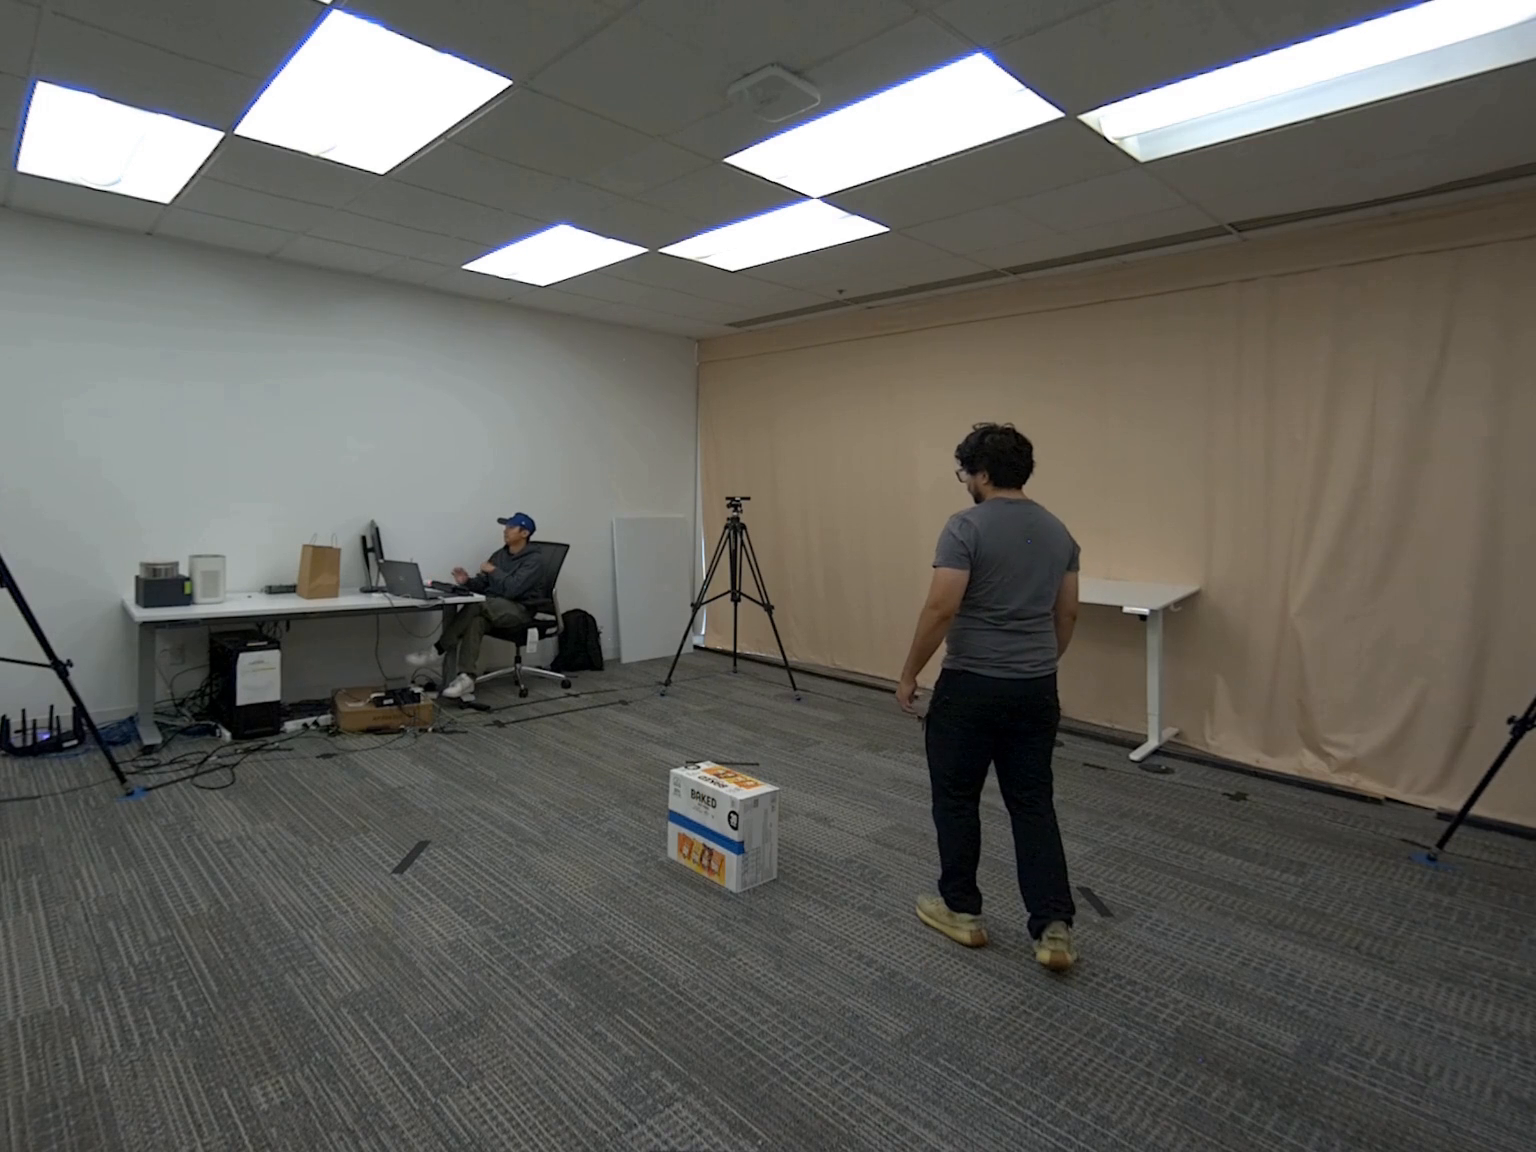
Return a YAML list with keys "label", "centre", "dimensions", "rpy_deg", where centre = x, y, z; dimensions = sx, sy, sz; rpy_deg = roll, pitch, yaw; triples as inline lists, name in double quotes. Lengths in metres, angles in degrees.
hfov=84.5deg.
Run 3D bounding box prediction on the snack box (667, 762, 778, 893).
- label: "snack box"
  centre: [-0.178, 0.930, 3.168]
  dimensions: [0.201, 0.339, 0.415]
  rpy_deg: [-1, 5, -43]
